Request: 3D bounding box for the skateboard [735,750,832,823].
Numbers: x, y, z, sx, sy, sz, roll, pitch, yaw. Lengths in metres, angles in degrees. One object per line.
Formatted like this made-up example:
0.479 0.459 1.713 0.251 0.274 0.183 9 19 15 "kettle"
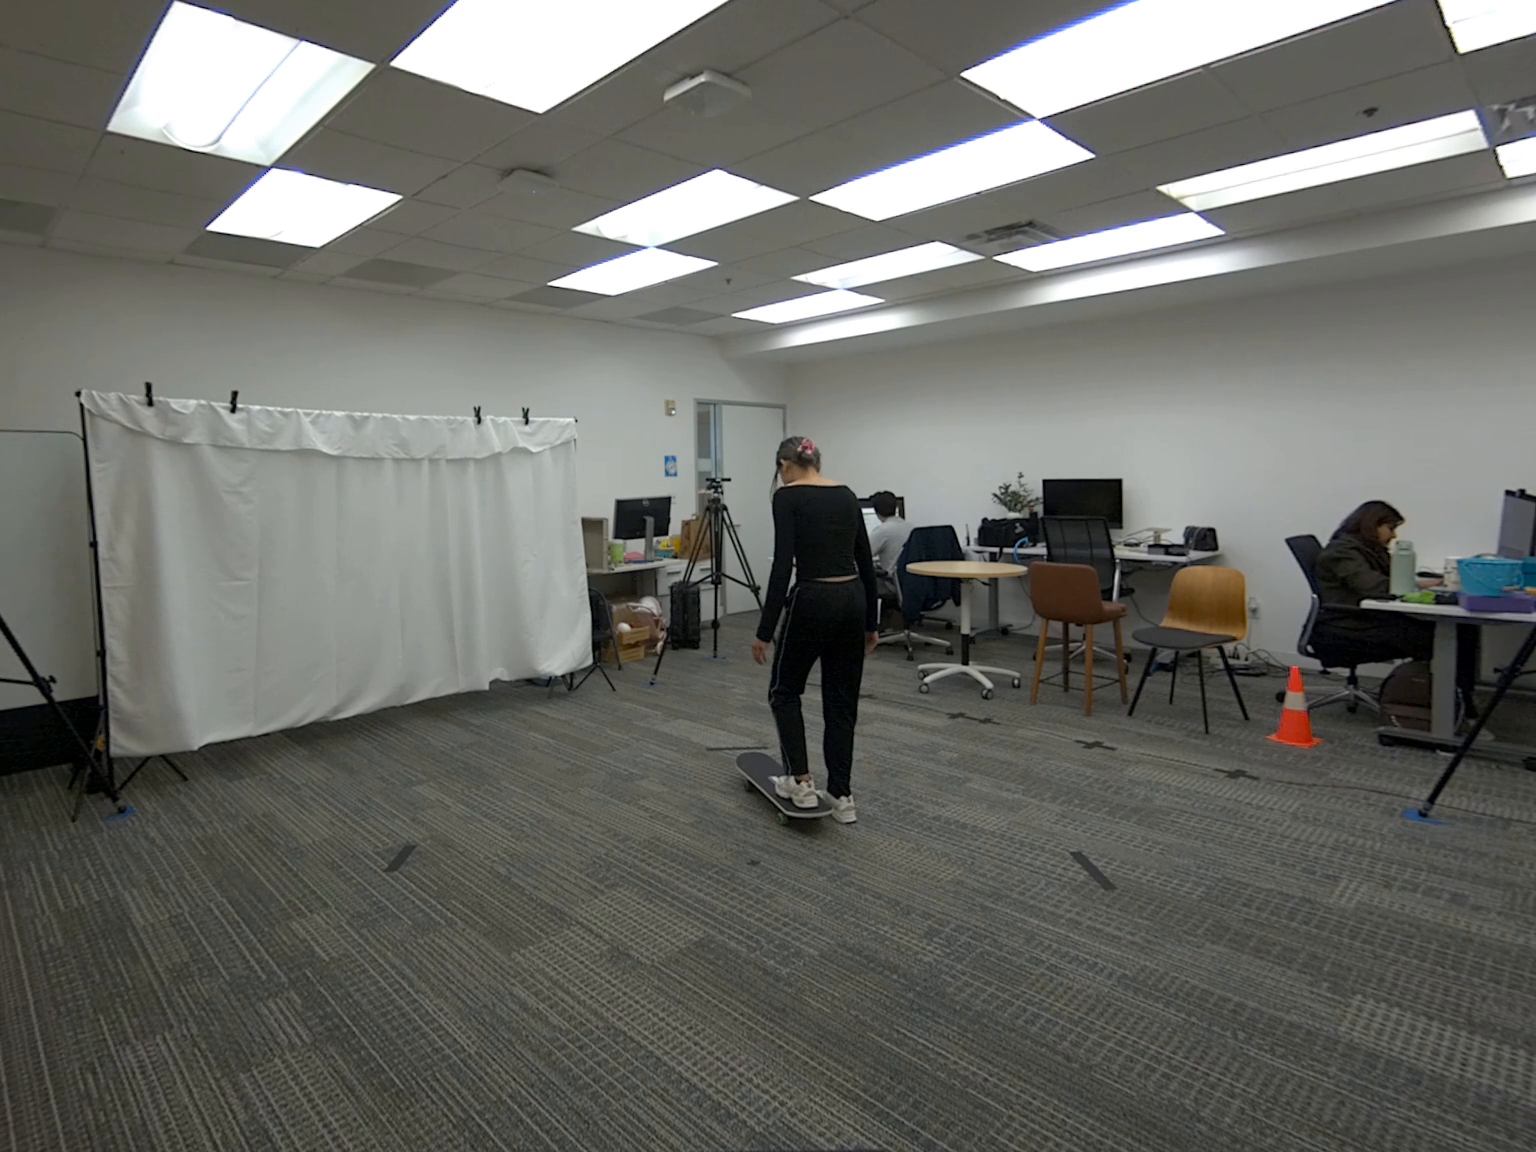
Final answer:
0.057 0.922 3.650 0.190 0.110 0.803 -4 7 -21 "skateboard"
